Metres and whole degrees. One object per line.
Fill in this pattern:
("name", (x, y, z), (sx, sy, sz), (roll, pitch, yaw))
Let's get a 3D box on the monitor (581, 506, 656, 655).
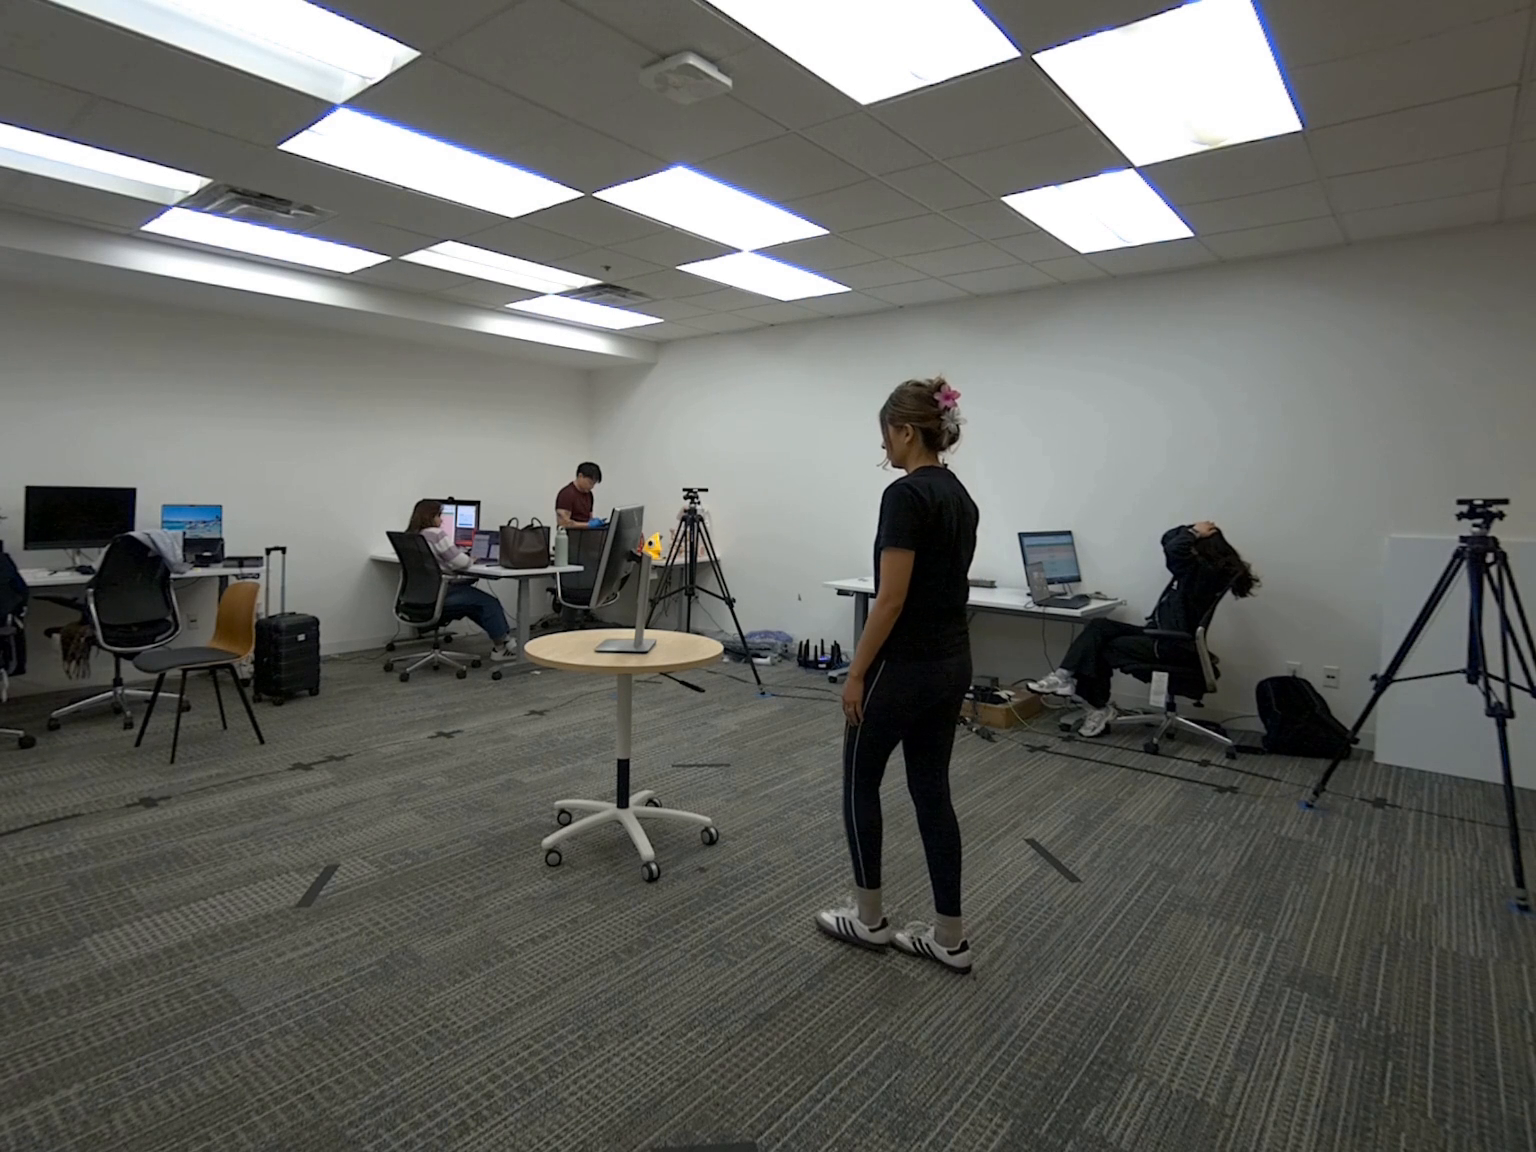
("monitor", (-0.545, 0.009, 3.246), (0.187, 0.520, 0.541), (1, 5, -1))
